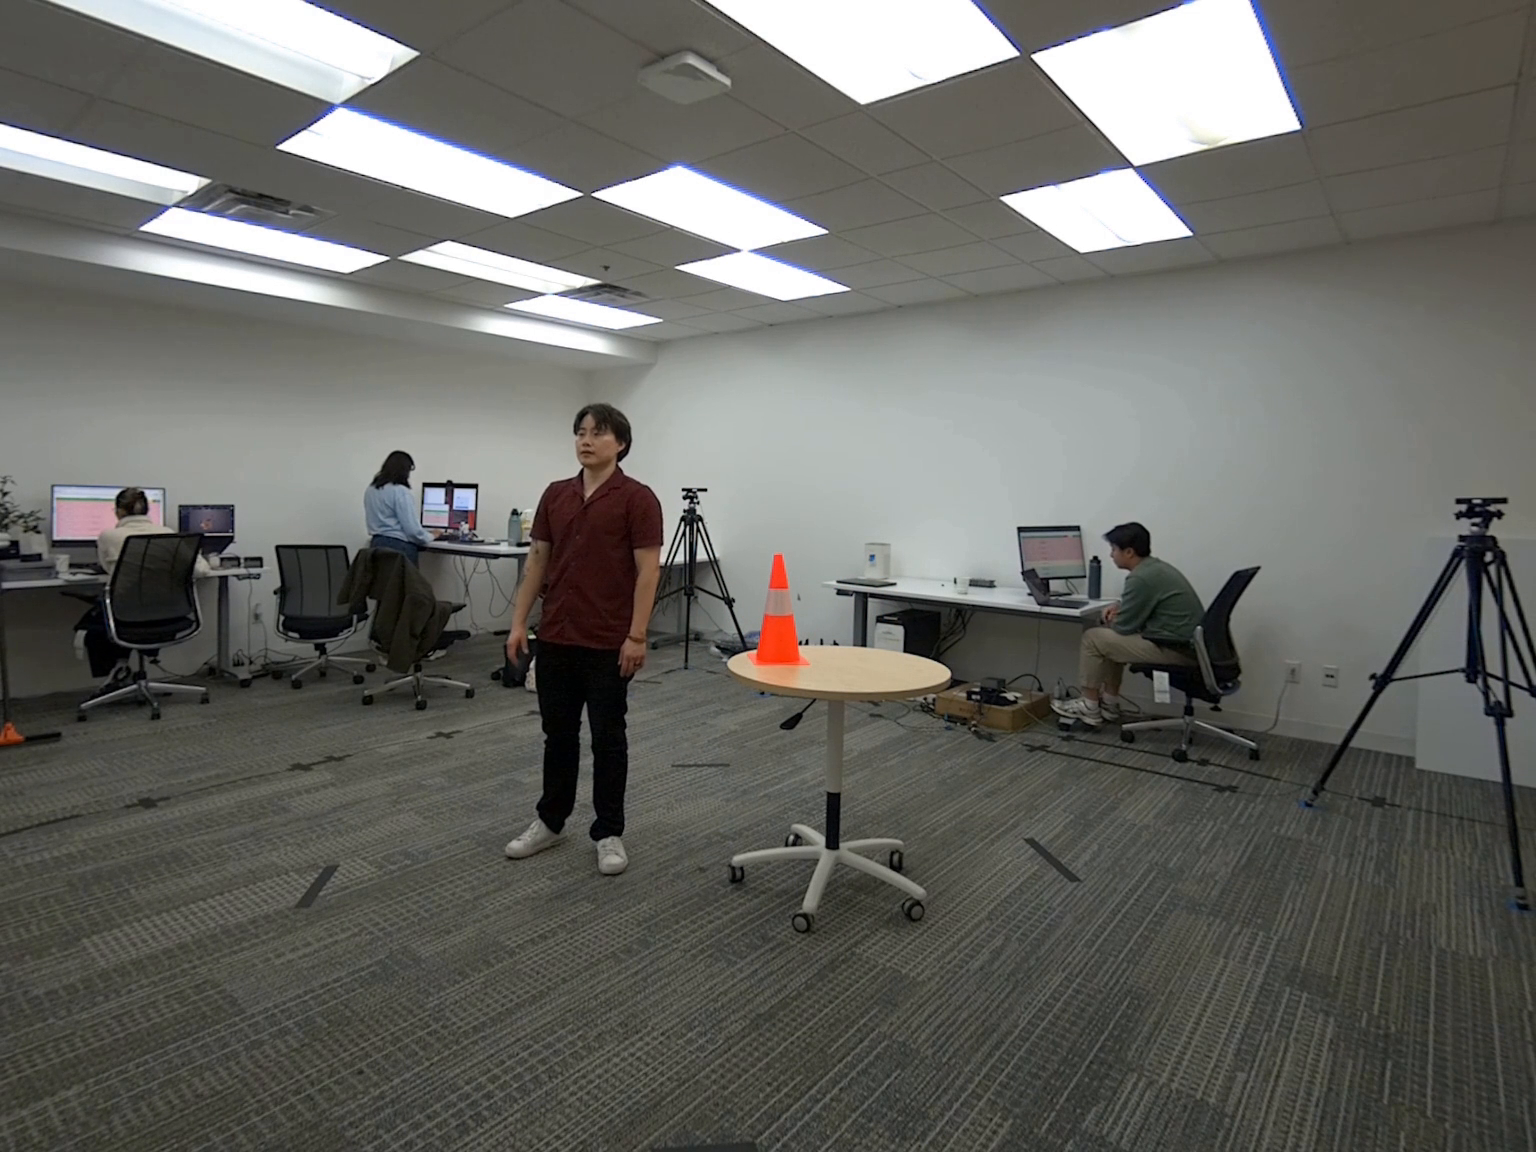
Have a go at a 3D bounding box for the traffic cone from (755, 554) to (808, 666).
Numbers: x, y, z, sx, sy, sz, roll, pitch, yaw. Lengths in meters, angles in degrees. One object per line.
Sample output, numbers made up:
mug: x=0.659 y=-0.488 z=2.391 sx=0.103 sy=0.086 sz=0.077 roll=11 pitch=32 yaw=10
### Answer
traffic cone: x=0.023 y=0.106 z=3.041 sx=0.202 sy=0.383 sz=0.206 roll=-5 pitch=2 yaw=-14
